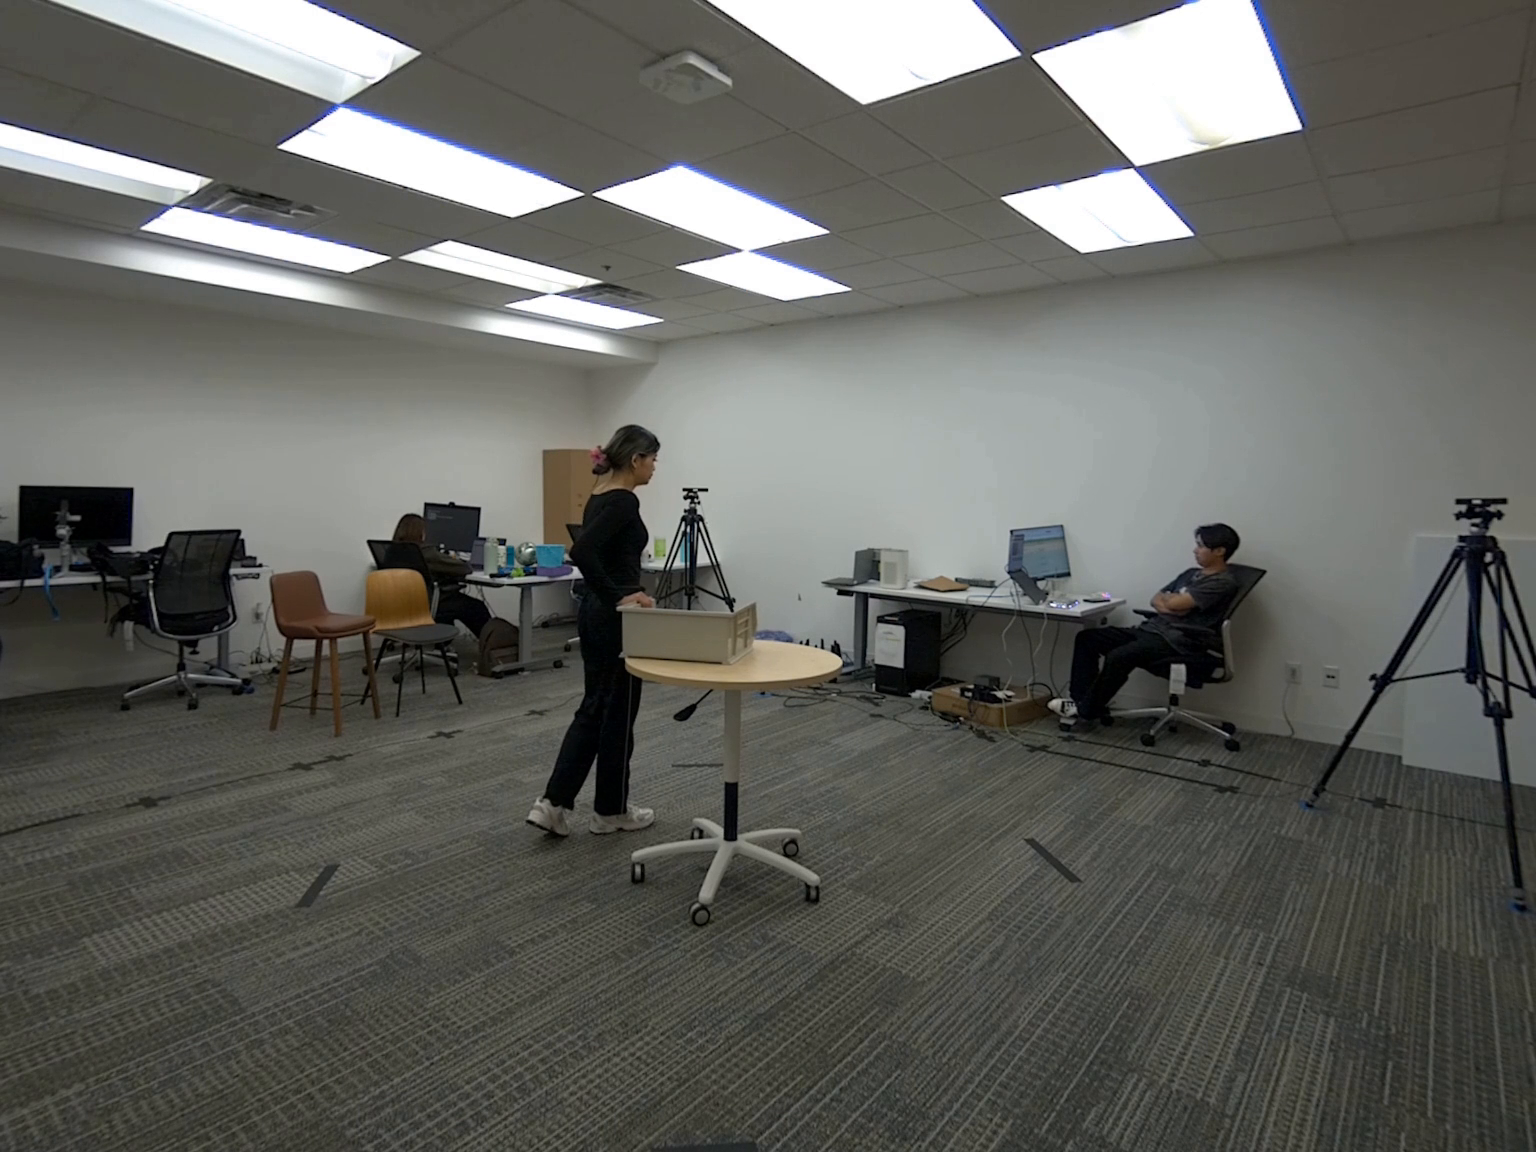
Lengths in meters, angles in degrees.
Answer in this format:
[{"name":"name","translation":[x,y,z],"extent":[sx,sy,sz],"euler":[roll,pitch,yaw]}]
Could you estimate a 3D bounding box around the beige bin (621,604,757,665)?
[{"name":"beige bin","translation":[-0.298,0.185,3.100],"extent":[0.429,0.188,0.373],"euler":[3,7,14]}]
